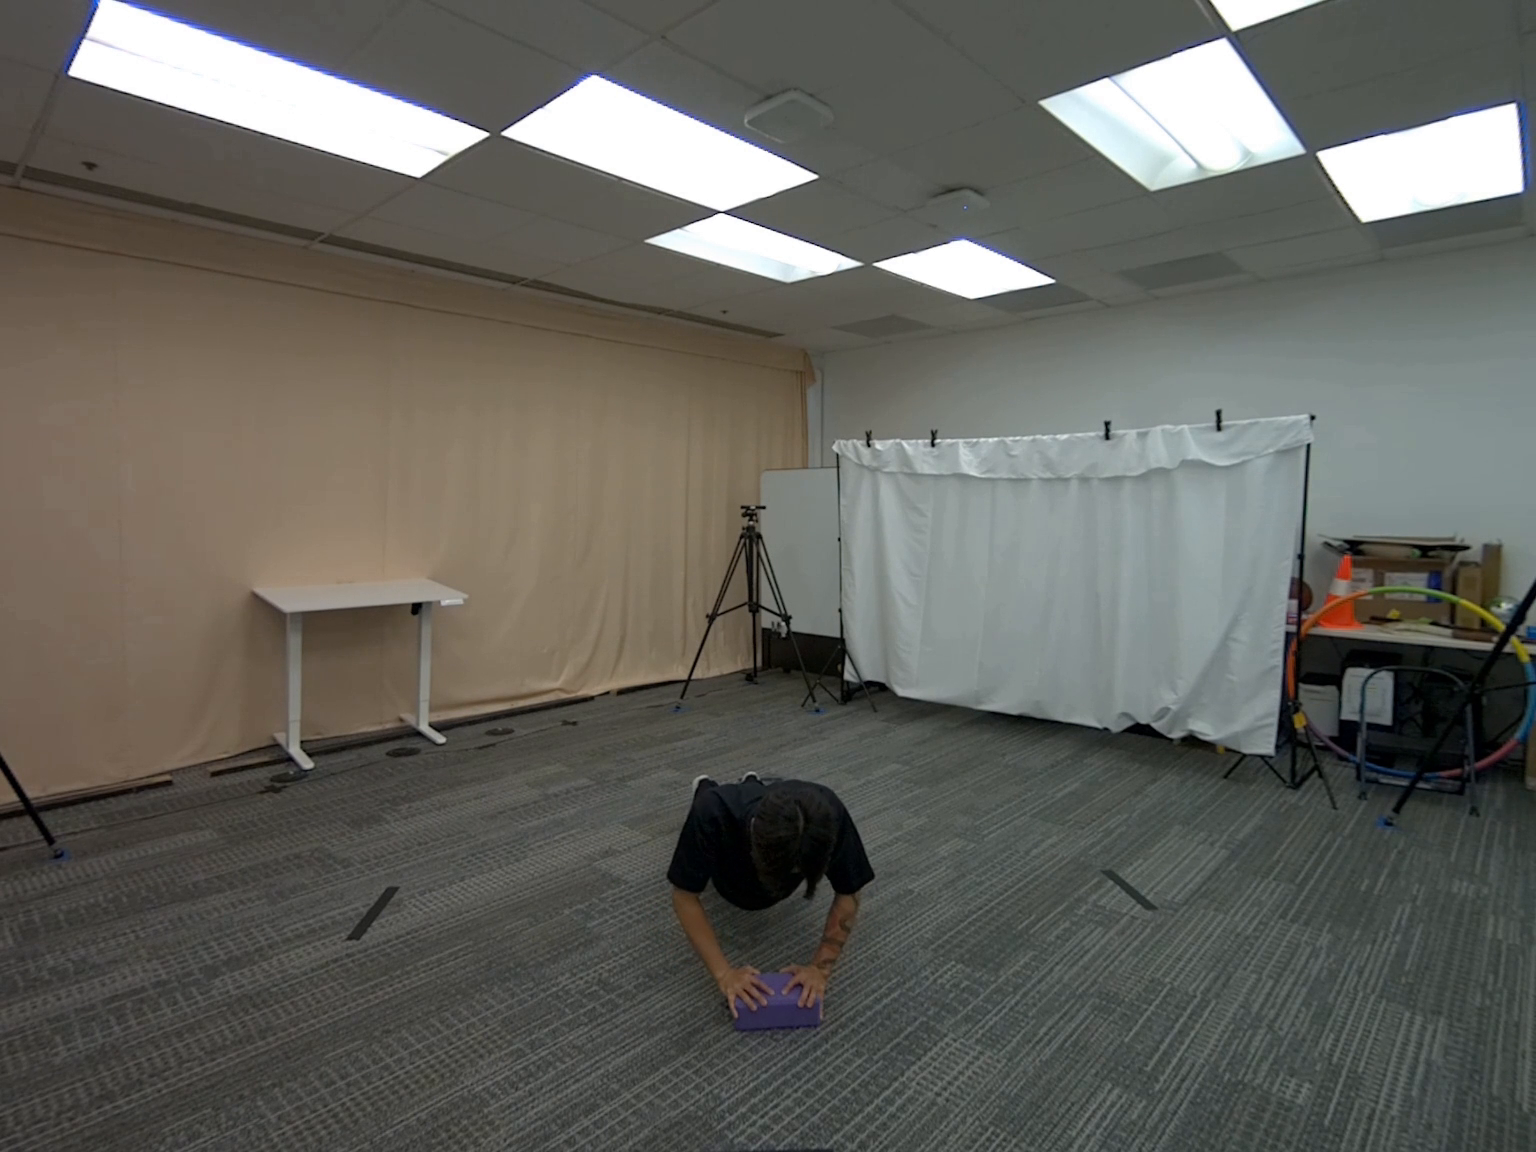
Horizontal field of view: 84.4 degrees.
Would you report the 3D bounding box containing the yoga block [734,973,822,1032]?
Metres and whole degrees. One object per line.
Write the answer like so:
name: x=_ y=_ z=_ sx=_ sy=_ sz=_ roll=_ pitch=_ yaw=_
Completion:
yoga block: x=0.014 y=1.159 z=2.308 sx=0.227 sy=0.076 sz=0.150 roll=0 pitch=5 yaw=-8
